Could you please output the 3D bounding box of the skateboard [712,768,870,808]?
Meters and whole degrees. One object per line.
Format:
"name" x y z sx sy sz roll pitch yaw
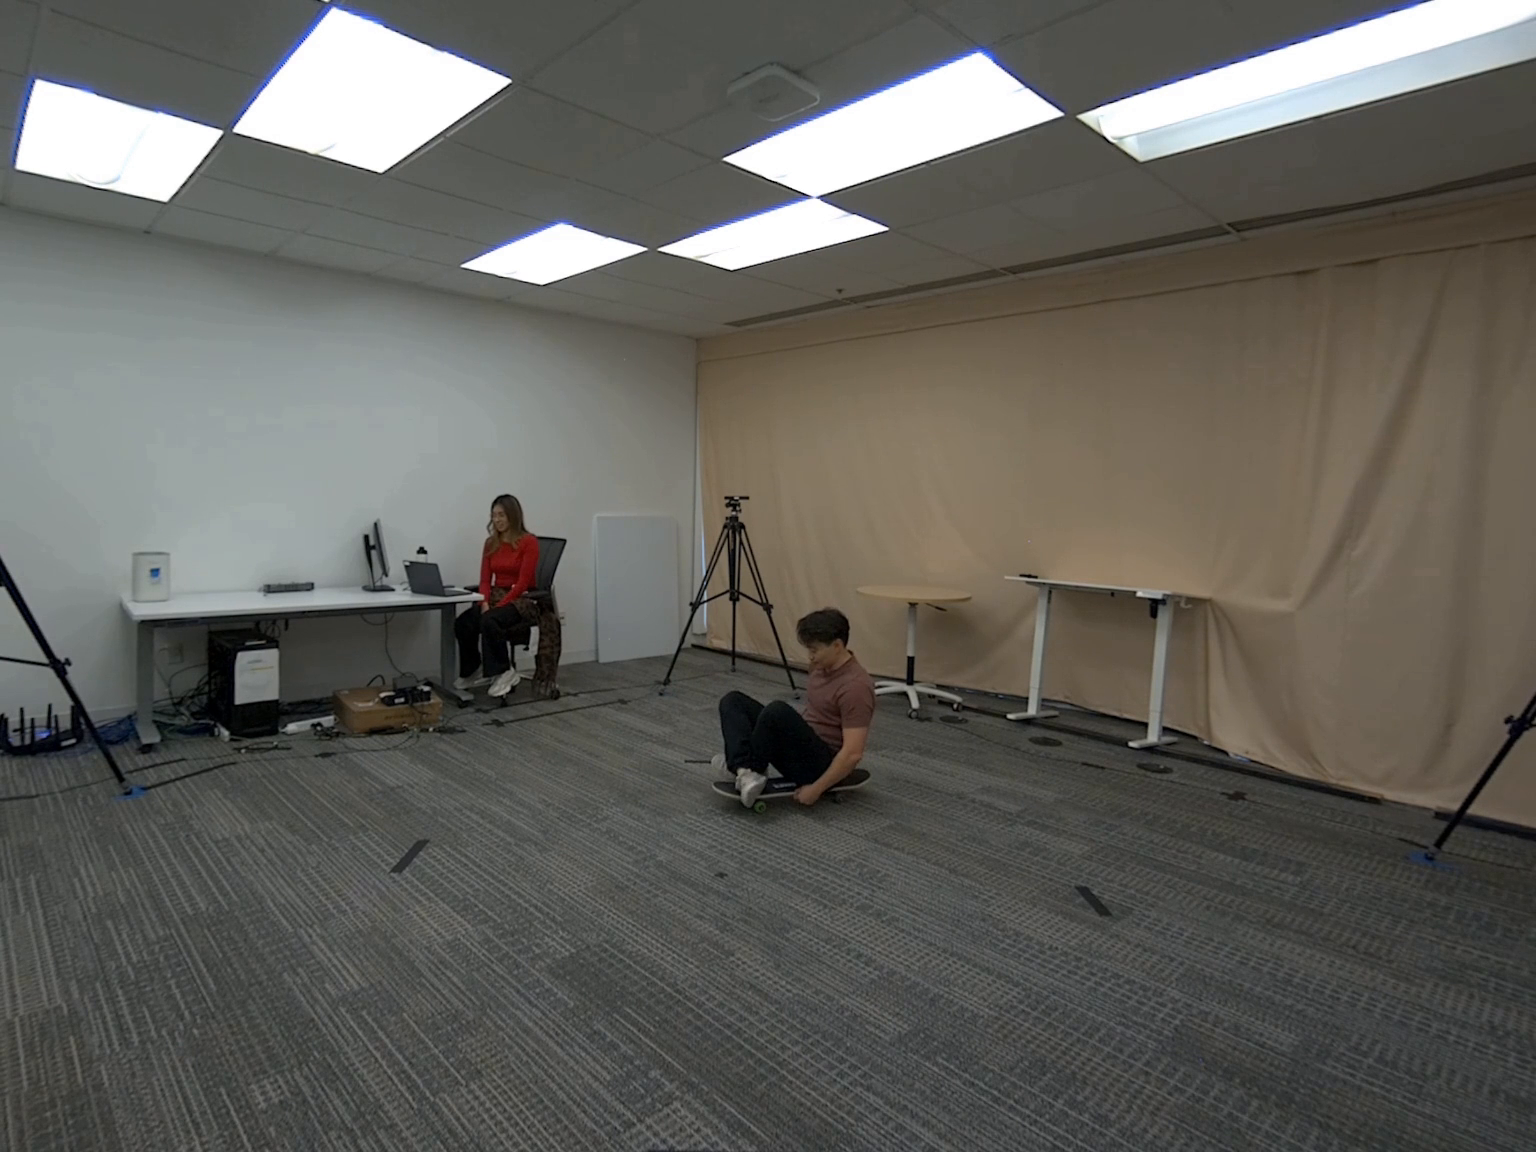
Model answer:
"skateboard" 0.102 0.983 3.875 0.770 0.110 0.198 0 5 -27
